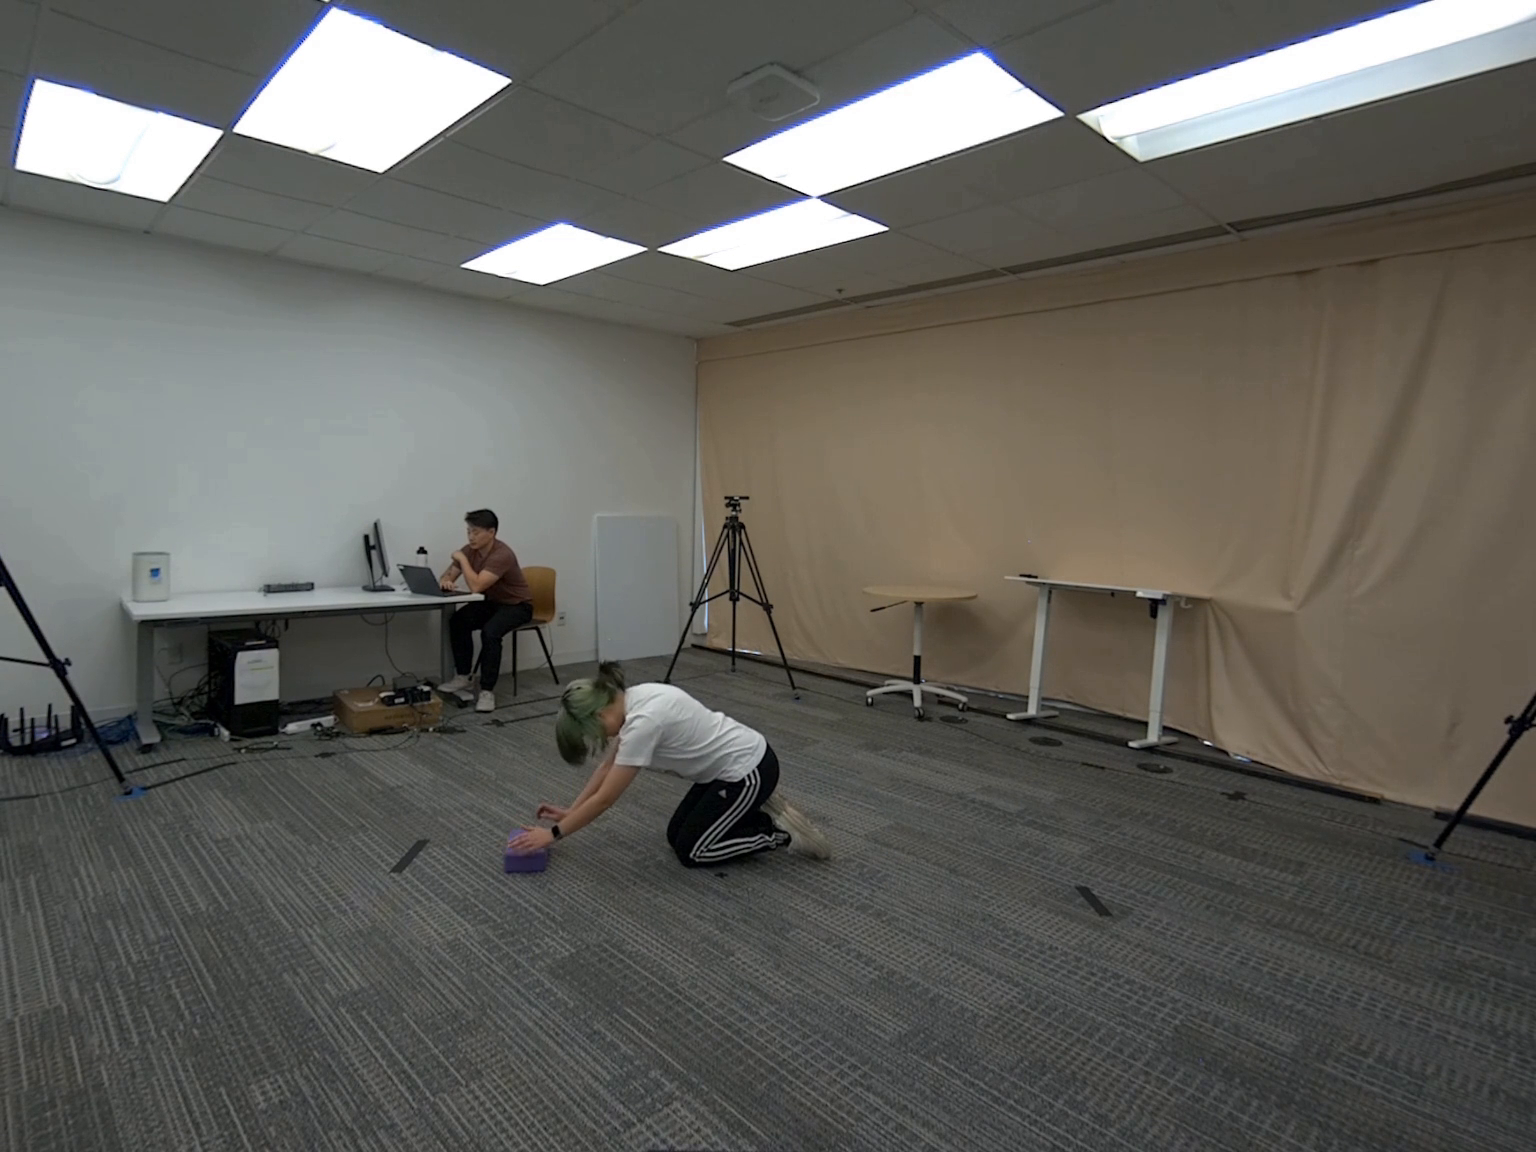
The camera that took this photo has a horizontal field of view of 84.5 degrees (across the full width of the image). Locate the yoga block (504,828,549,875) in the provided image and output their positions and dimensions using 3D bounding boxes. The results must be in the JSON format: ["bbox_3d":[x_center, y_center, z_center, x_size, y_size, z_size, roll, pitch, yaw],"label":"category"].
[{"bbox_3d":[-0.911,1.033,3.193,0.148,0.076,0.232,2,5,-11],"label":"yoga block"}]
